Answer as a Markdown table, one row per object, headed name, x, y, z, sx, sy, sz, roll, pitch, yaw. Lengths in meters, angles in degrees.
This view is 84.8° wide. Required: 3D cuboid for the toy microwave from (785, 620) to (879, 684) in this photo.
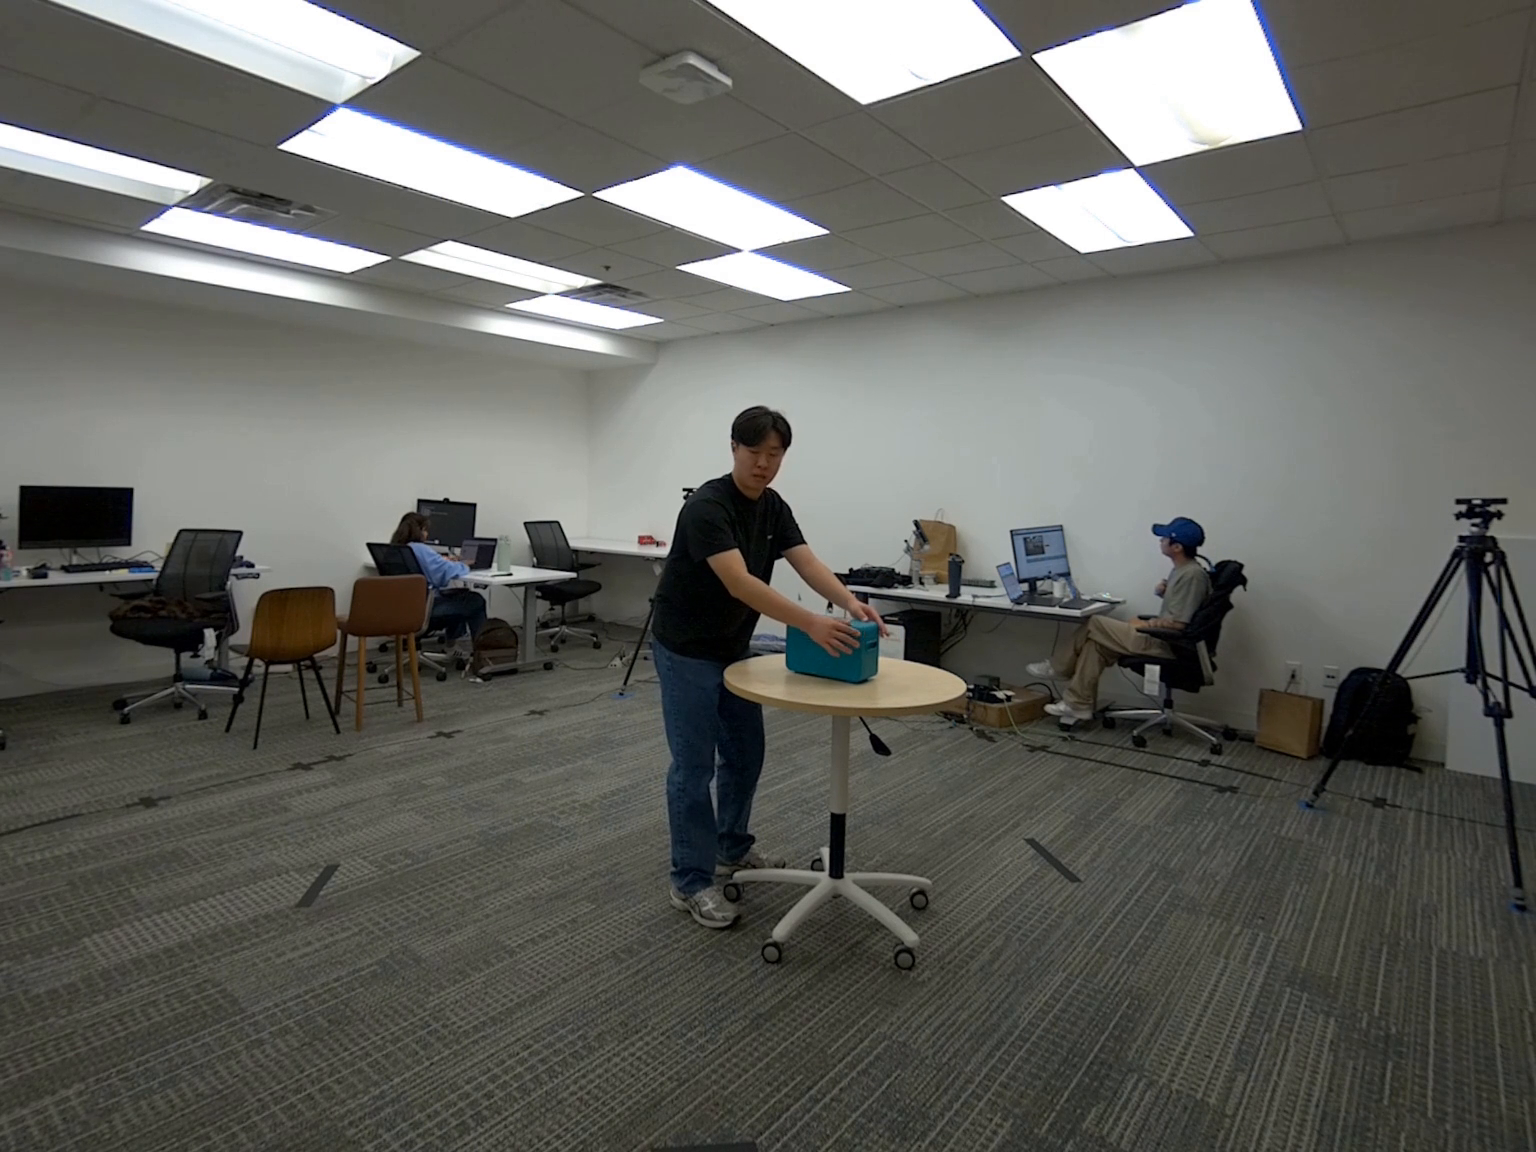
| name | x | y | z | sx | sy | sz | roll | pitch | yaw |
| --- | --- | --- | --- | --- | --- | --- | --- | --- | --- |
| toy microwave | 0.202 | 0.225 | 2.746 | 0.295 | 0.183 | 0.148 | 4 | 5 | 37 |
